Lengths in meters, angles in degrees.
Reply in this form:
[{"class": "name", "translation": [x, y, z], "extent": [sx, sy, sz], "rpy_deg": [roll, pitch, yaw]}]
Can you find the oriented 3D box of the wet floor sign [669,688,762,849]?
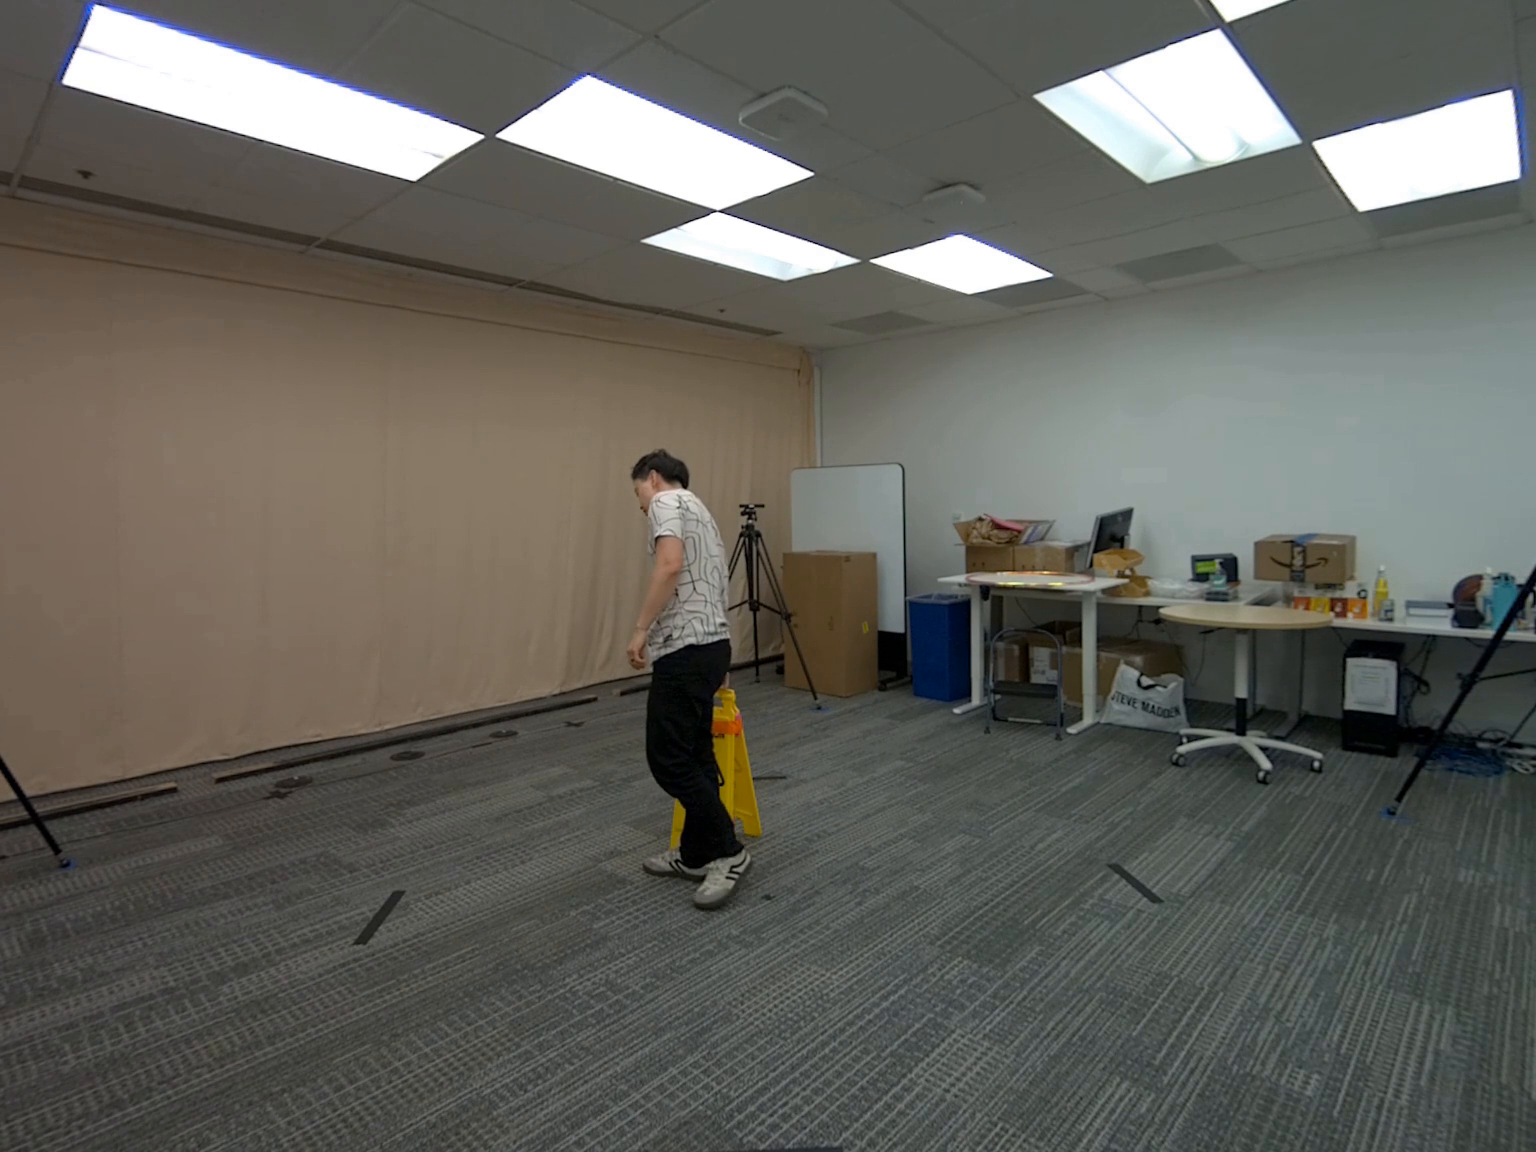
[{"class": "wet floor sign", "translation": [-0.219, 0.778, 3.453], "extent": [0.289, 0.645, 0.283], "rpy_deg": [-1, 3, 25]}]
